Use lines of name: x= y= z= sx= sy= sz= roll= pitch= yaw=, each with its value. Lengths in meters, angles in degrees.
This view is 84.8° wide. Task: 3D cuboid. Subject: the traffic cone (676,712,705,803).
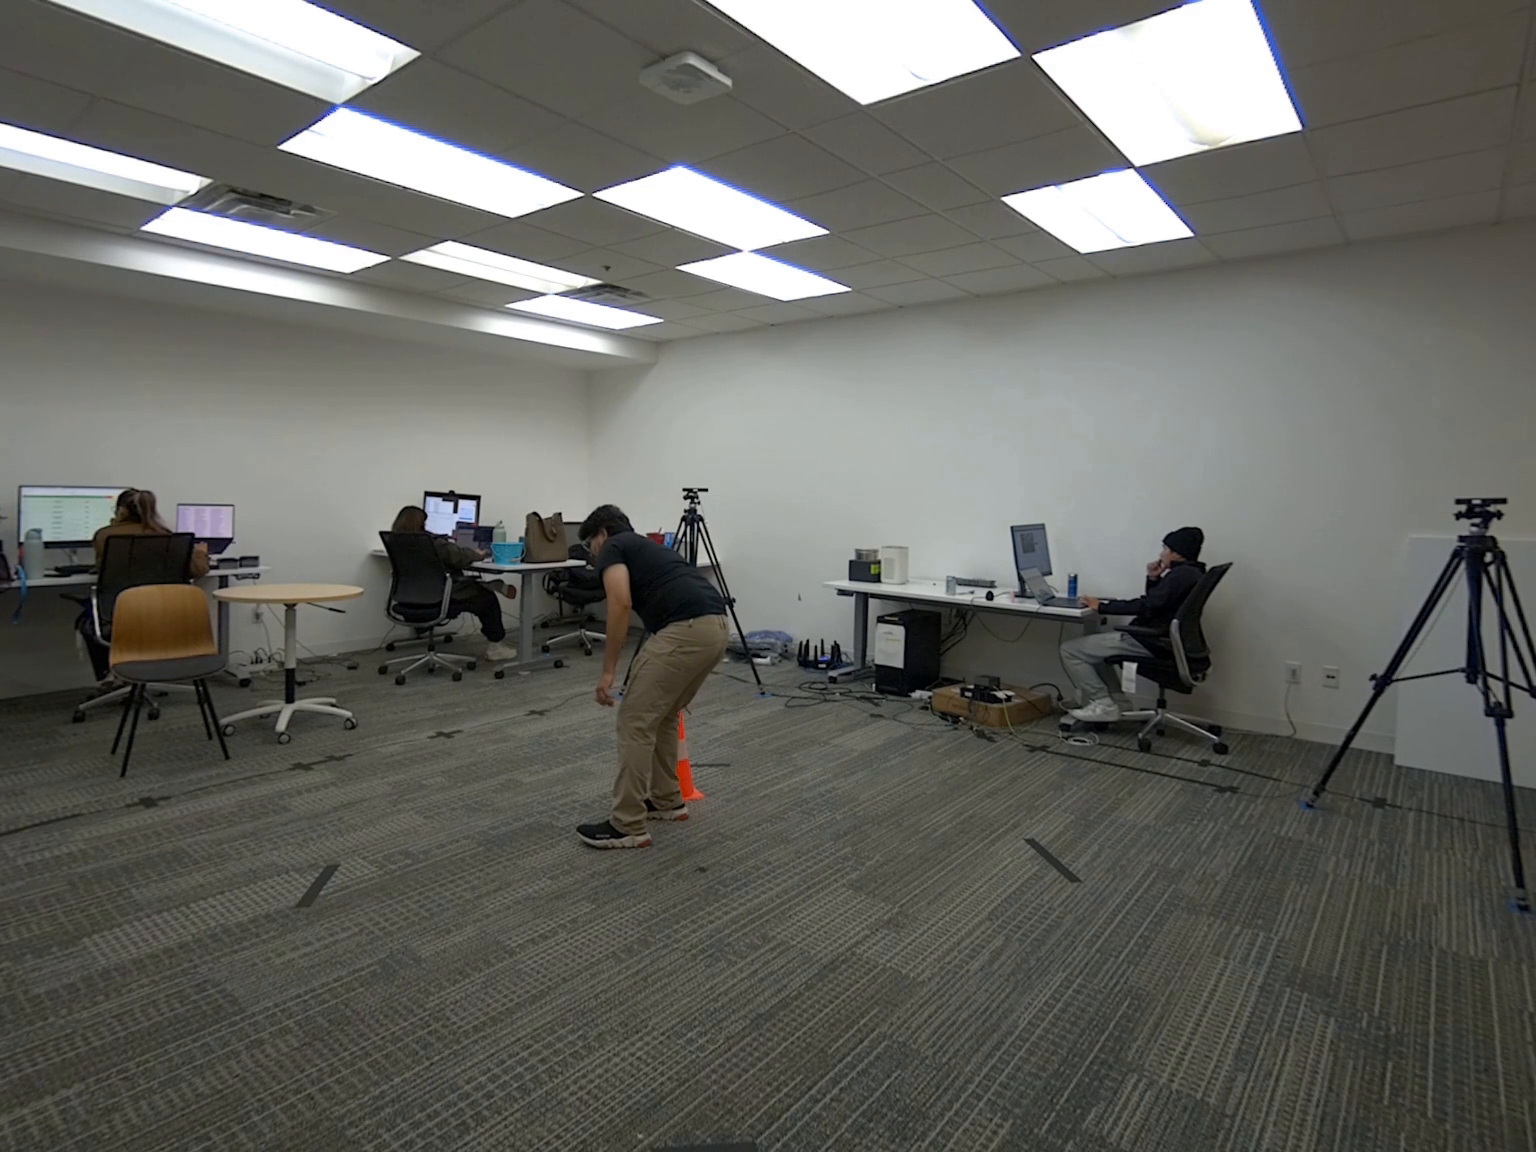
traffic cone: x=-0.424 y=0.811 z=3.895 sx=0.200 sy=0.383 sz=0.208 roll=0 pitch=3 yaw=-23
